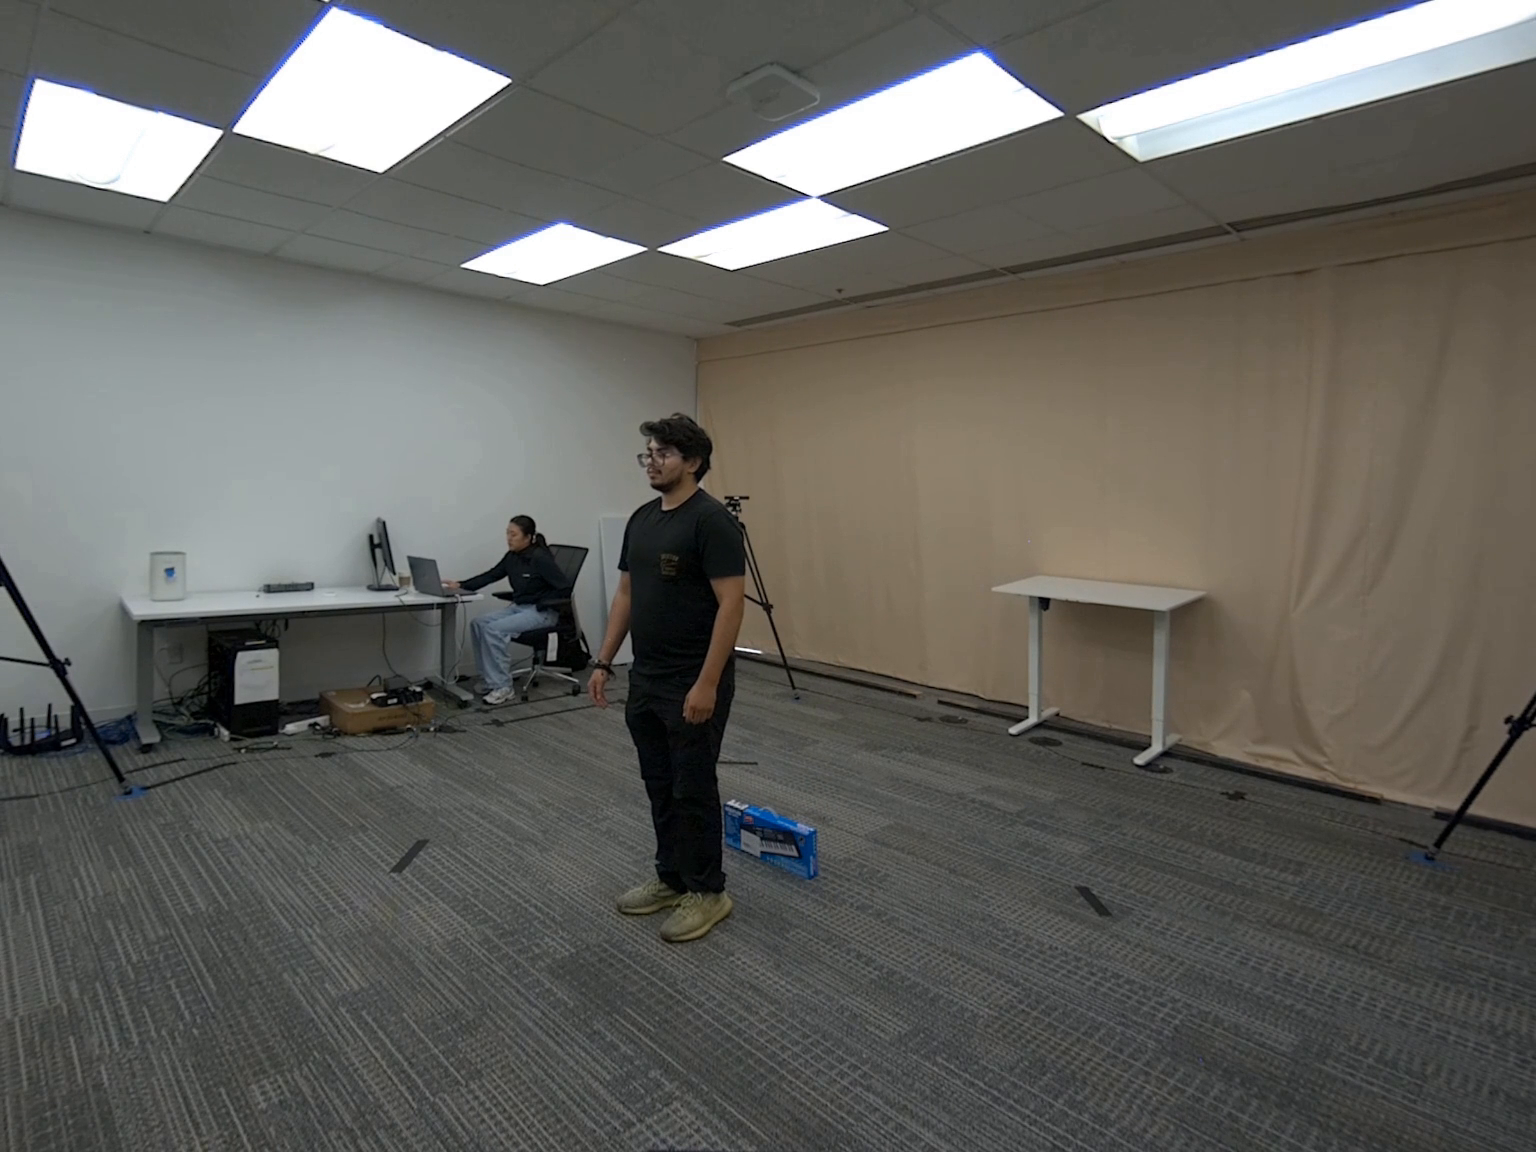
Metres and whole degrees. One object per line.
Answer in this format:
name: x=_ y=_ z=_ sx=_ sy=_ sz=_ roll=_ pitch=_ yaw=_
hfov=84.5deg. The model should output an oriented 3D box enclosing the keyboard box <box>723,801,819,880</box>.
keyboard box: x=-0.004 y=1.008 z=3.242 sx=0.448 sy=0.175 sz=0.058 roll=5 pitch=9 yaw=43
